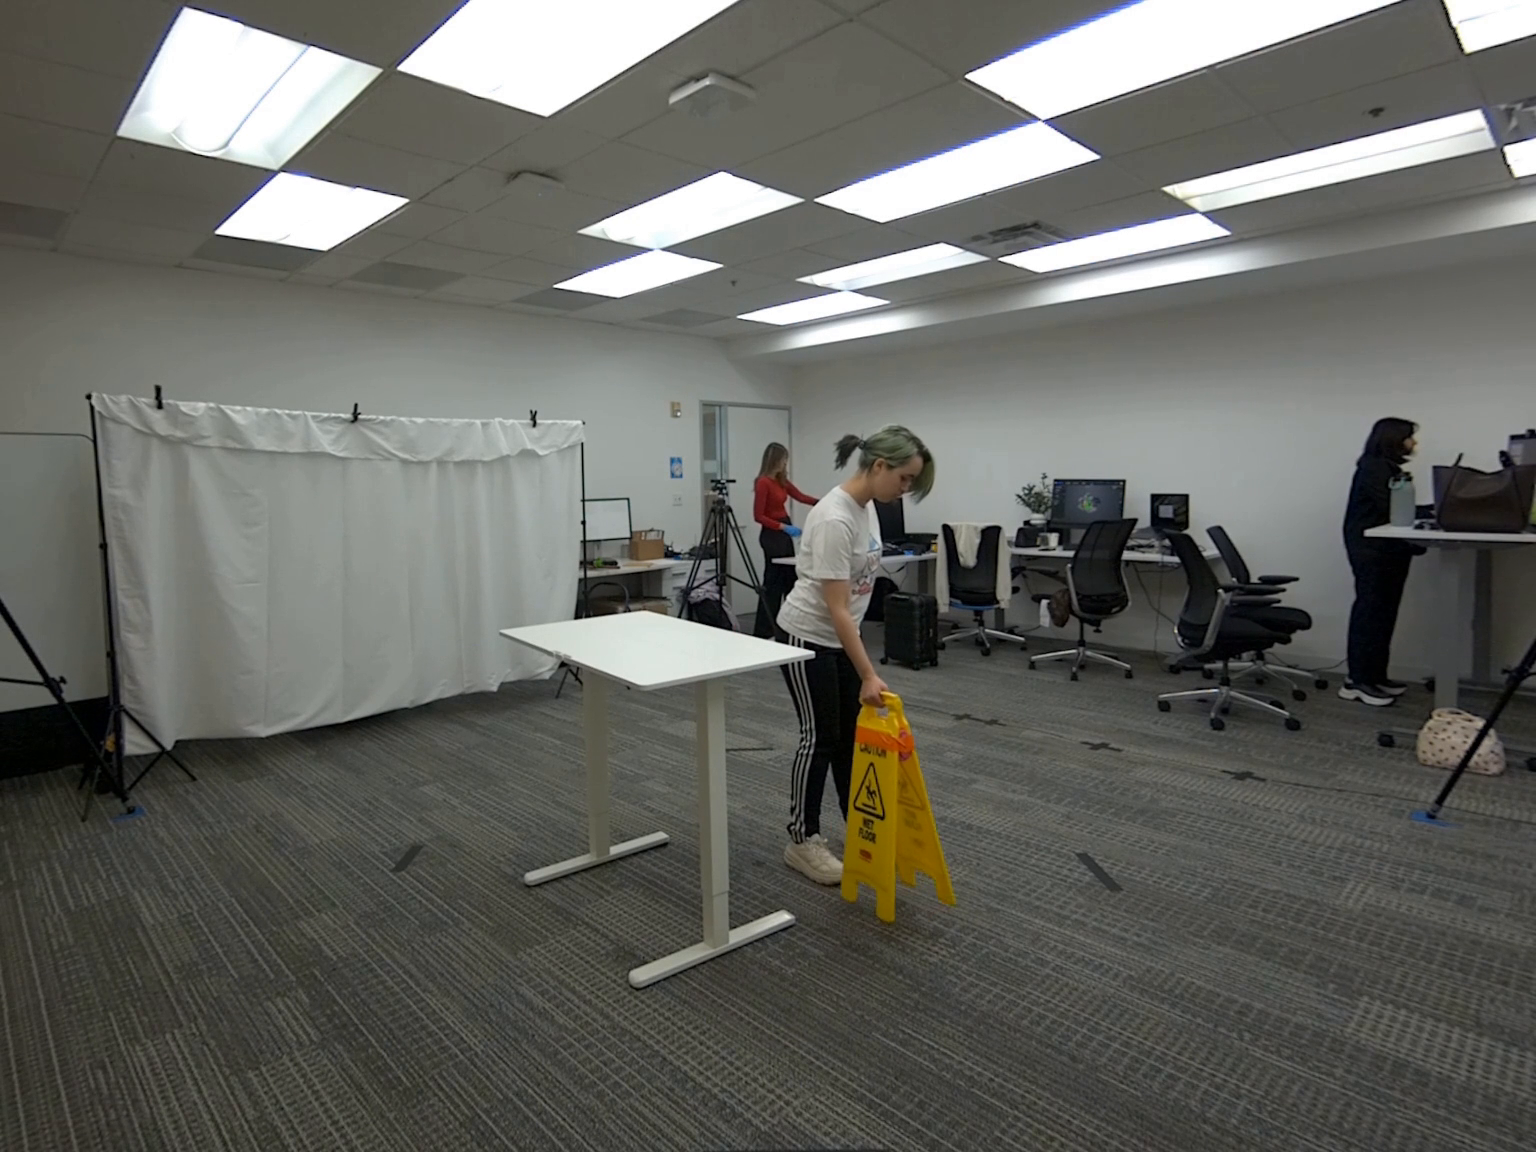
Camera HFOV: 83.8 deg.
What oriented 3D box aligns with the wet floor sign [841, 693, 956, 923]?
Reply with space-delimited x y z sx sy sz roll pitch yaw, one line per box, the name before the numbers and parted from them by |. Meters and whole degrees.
wet floor sign | 0.388 0.698 2.691 0.284 0.648 0.287 -3 -4 -24
